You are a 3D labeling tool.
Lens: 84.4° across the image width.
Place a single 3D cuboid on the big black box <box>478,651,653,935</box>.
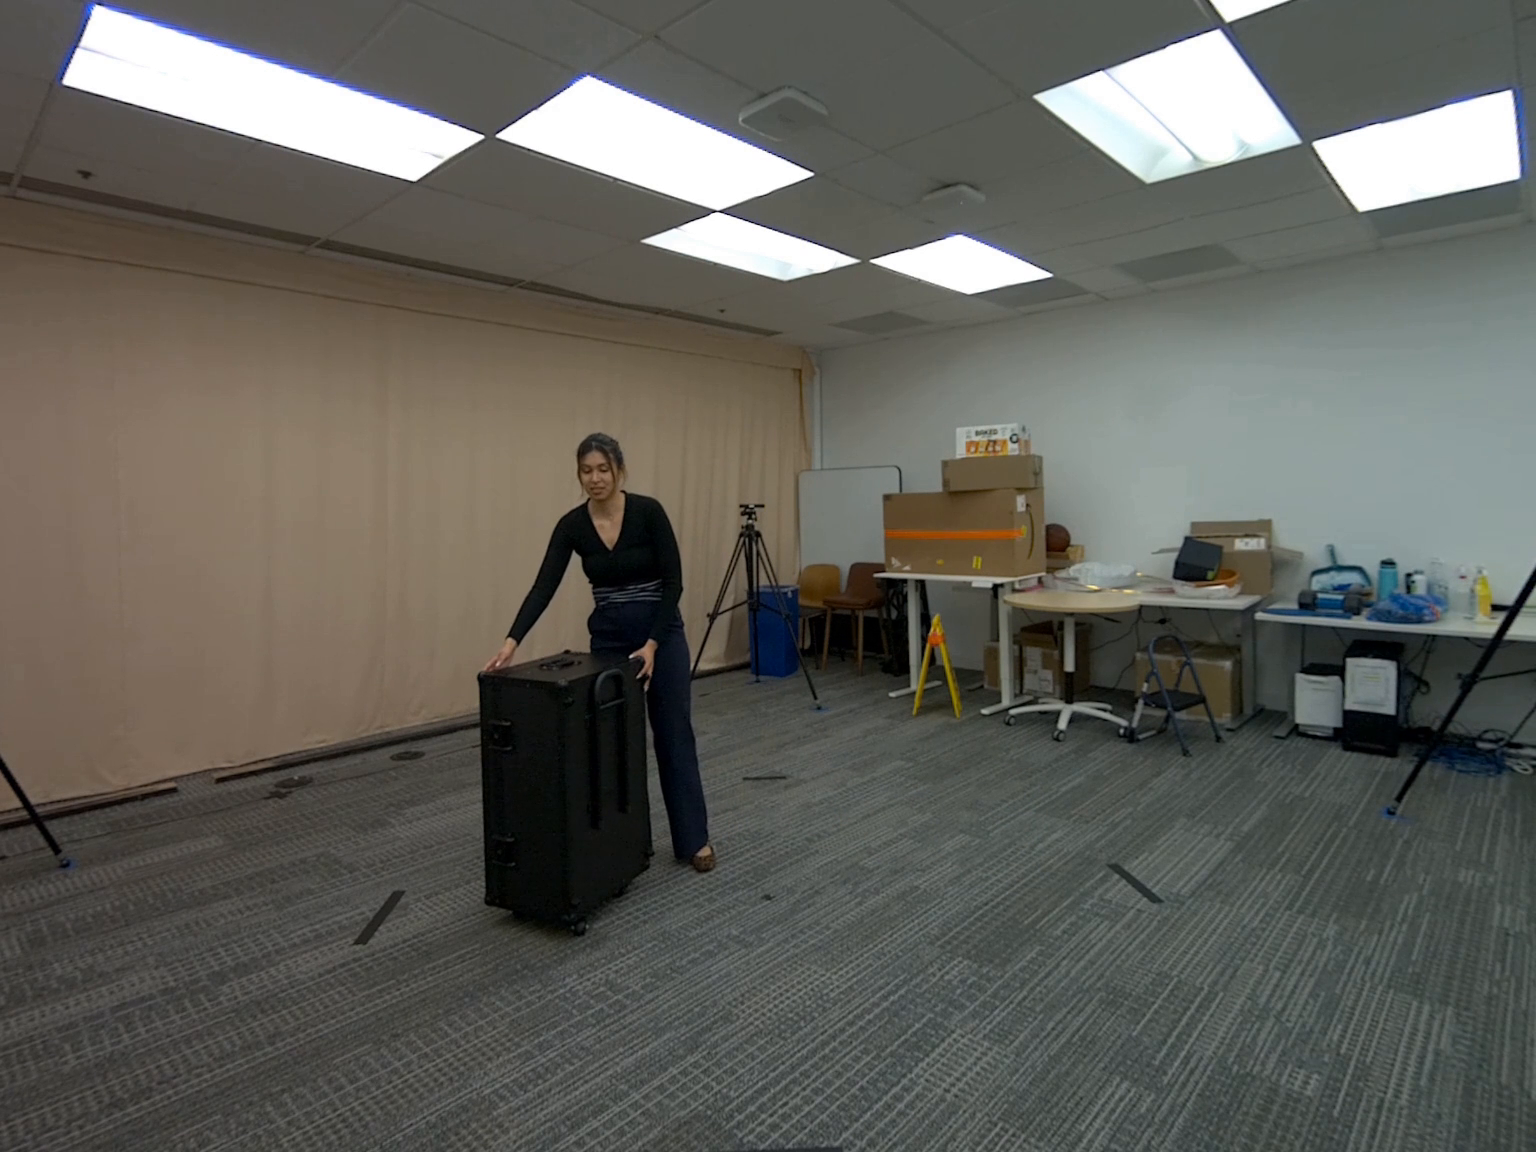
[{"bbox_3d":[-0.687,0.737,2.941,0.406,0.860,0.509,1,3,25],"label":"big black box"}]
